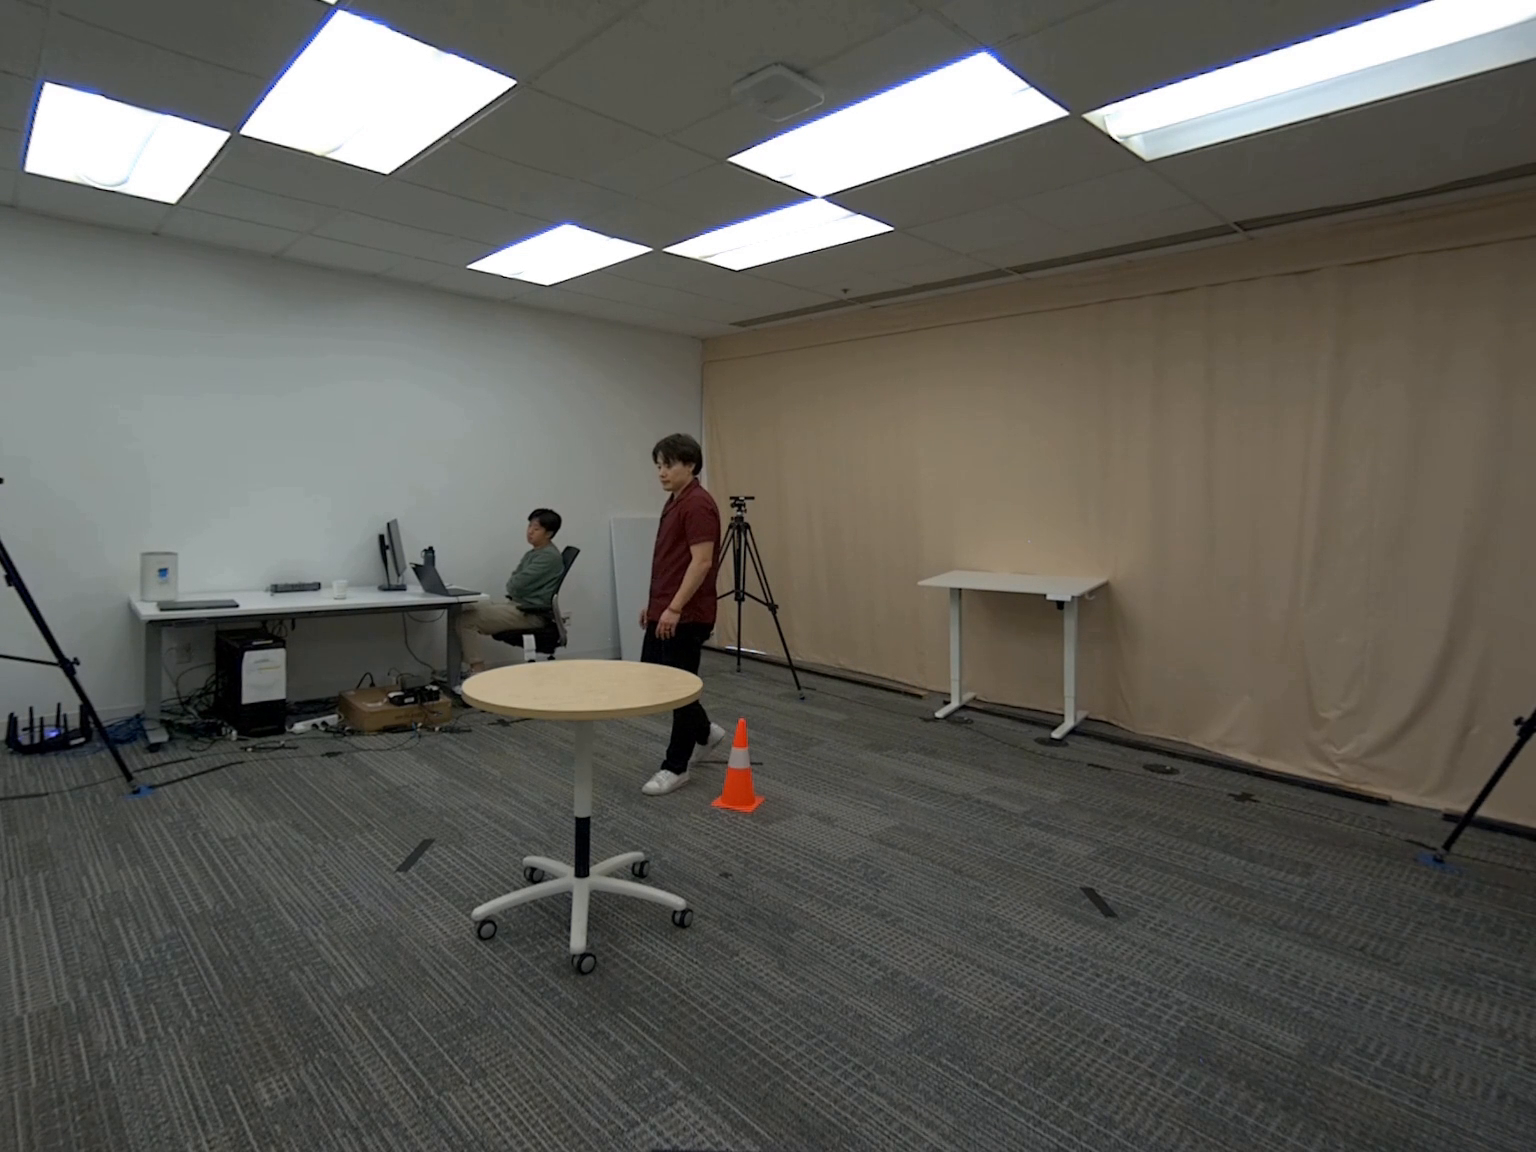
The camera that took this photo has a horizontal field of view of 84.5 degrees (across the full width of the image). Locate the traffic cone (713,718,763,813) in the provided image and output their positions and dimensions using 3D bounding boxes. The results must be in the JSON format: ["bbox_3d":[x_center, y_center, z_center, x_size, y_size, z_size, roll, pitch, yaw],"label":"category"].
[{"bbox_3d":[-0.146,0.854,3.874,0.208,0.383,0.200,3,2,22],"label":"traffic cone"}]
